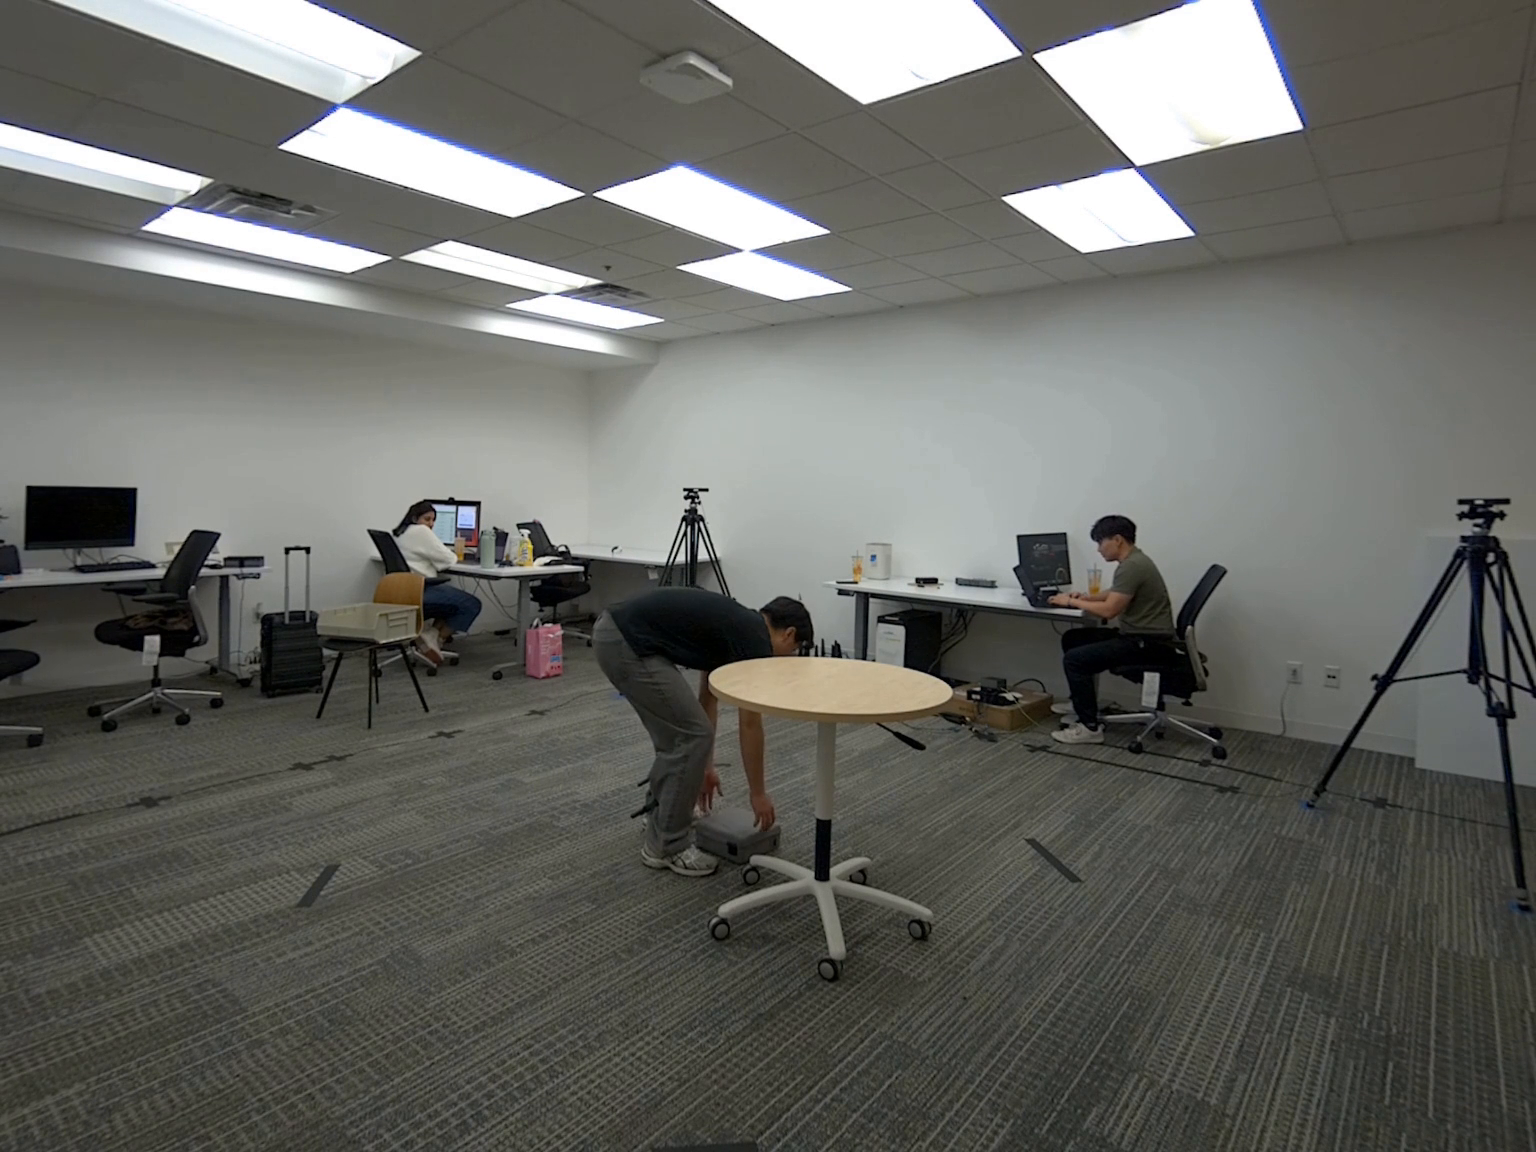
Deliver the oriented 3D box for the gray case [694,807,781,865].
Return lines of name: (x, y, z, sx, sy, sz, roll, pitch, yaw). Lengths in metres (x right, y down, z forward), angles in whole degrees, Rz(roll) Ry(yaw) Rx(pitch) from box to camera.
gray case: (-0.124, 0.996, 3.309, 0.272, 0.103, 0.278, 4, 5, 41)
